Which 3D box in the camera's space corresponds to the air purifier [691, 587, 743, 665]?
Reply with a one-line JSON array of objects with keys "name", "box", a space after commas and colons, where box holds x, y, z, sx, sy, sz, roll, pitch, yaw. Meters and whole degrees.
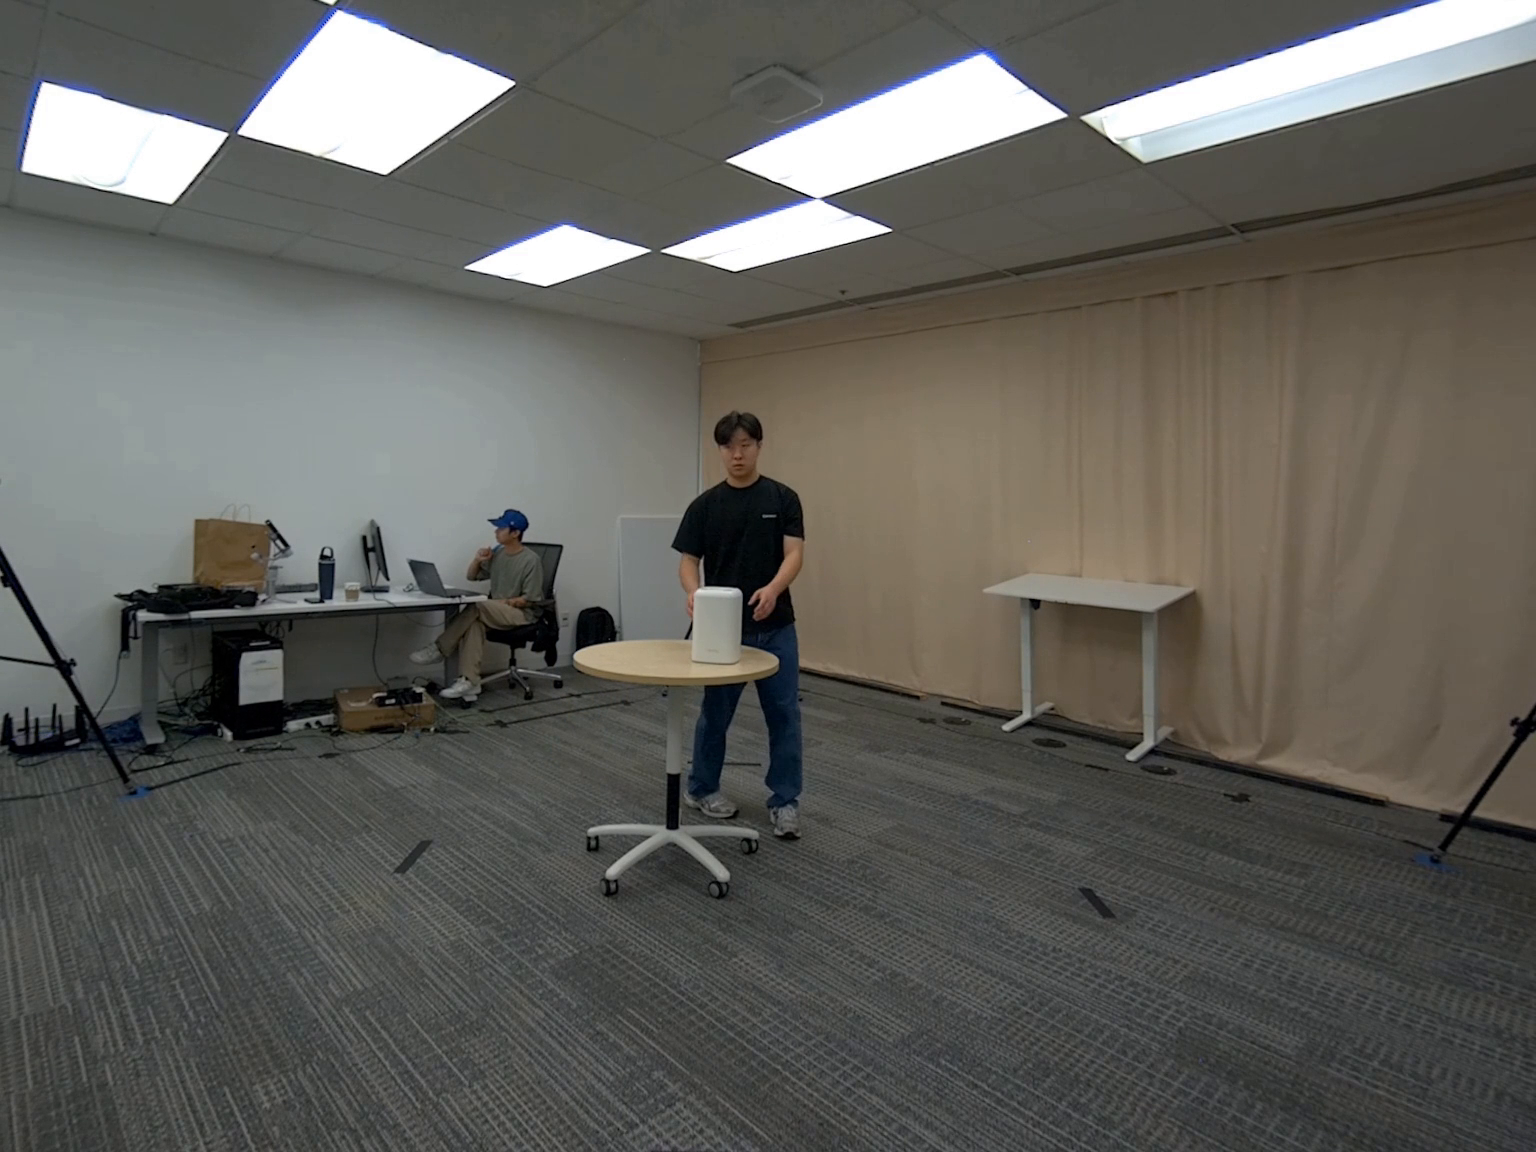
[{"name": "air purifier", "box": [-0.201, 0.180, 3.106, 0.172, 0.264, 0.171, 3, 4, 9]}]
